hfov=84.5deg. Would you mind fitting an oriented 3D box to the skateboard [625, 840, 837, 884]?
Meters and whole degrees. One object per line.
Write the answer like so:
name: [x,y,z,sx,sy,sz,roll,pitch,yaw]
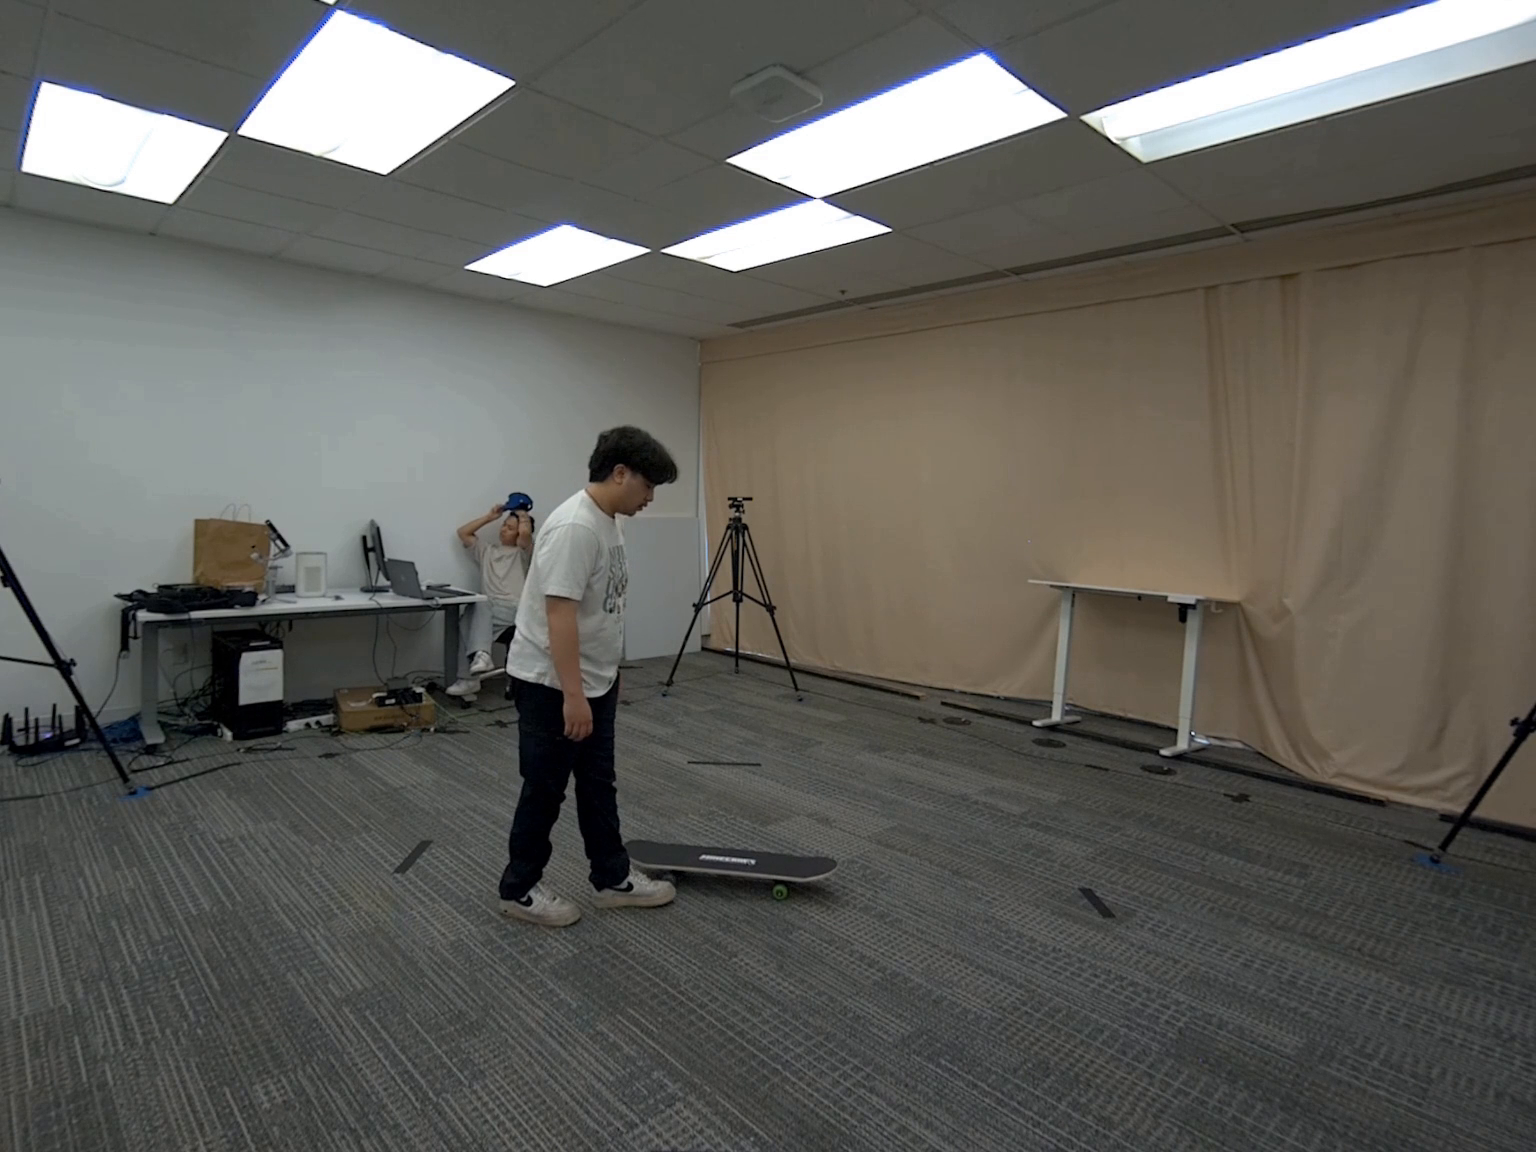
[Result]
skateboard: [-0.155,1.055,3.035,0.791,0.110,0.192,2,5,9]
